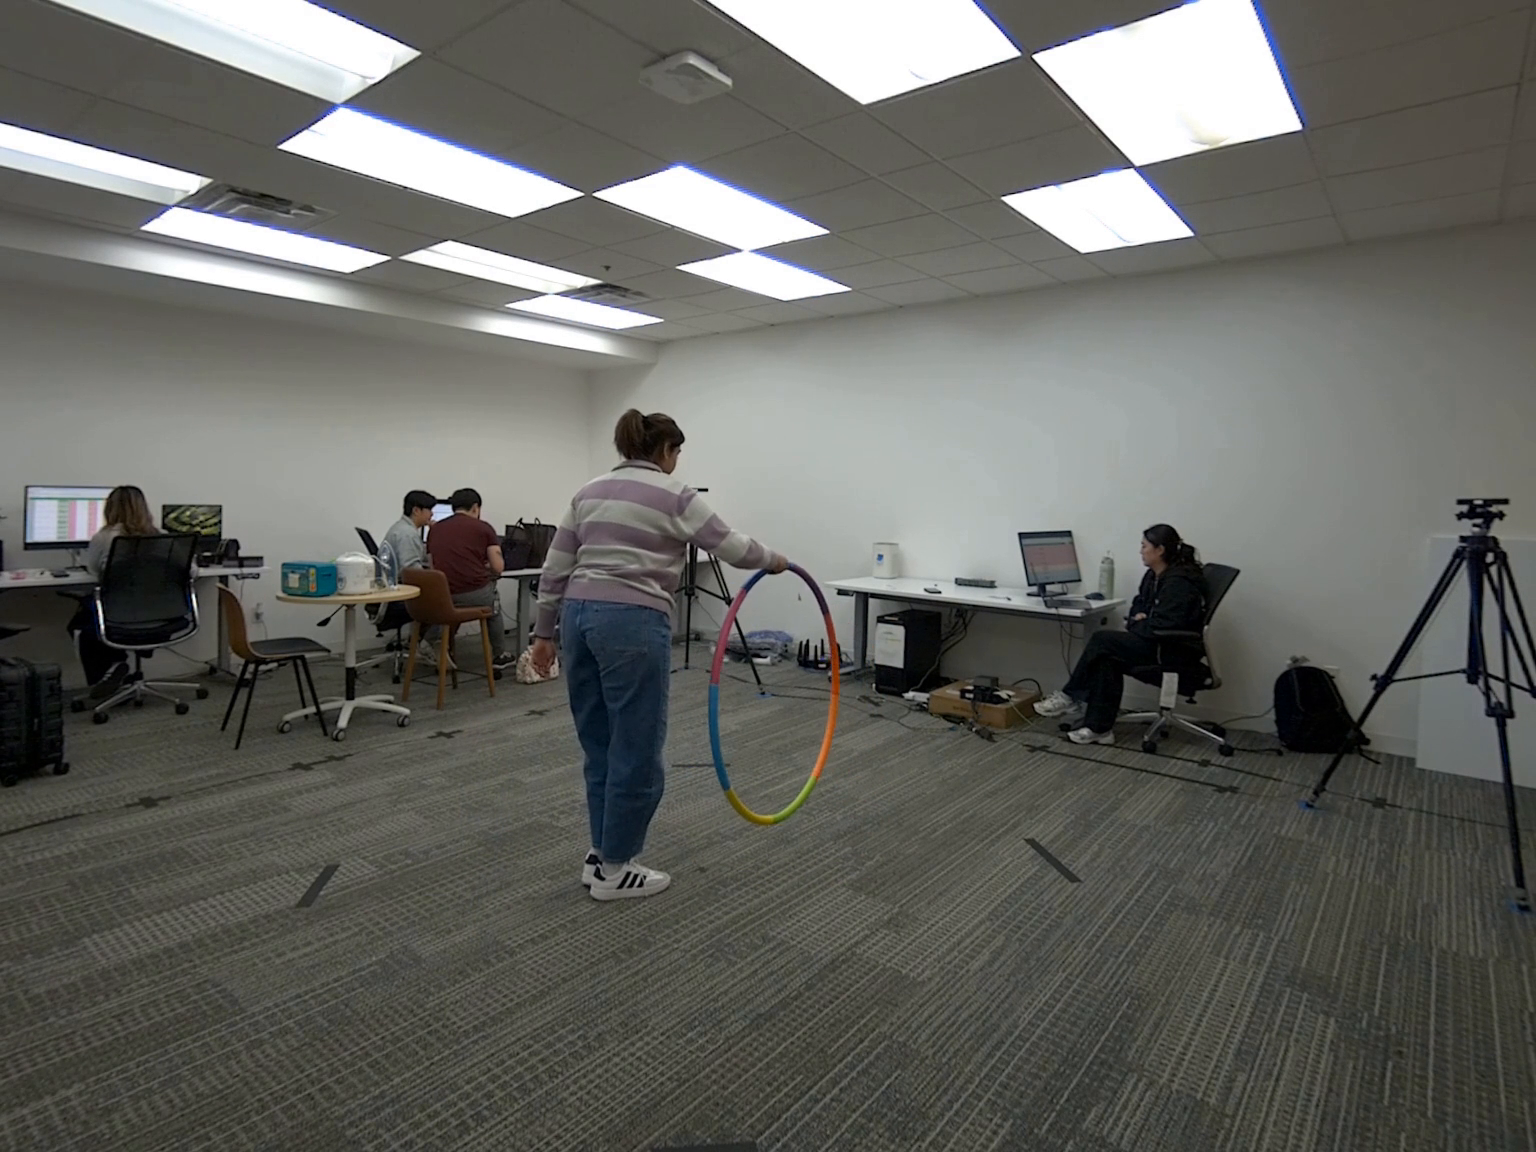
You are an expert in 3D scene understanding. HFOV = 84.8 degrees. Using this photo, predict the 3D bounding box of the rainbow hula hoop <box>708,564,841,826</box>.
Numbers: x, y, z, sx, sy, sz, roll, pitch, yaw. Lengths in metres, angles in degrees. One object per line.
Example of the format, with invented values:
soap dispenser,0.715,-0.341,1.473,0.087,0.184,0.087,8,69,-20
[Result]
rainbow hula hoop,0.047,0.432,3.247,0.053,0.984,0.959,-2,2,31
